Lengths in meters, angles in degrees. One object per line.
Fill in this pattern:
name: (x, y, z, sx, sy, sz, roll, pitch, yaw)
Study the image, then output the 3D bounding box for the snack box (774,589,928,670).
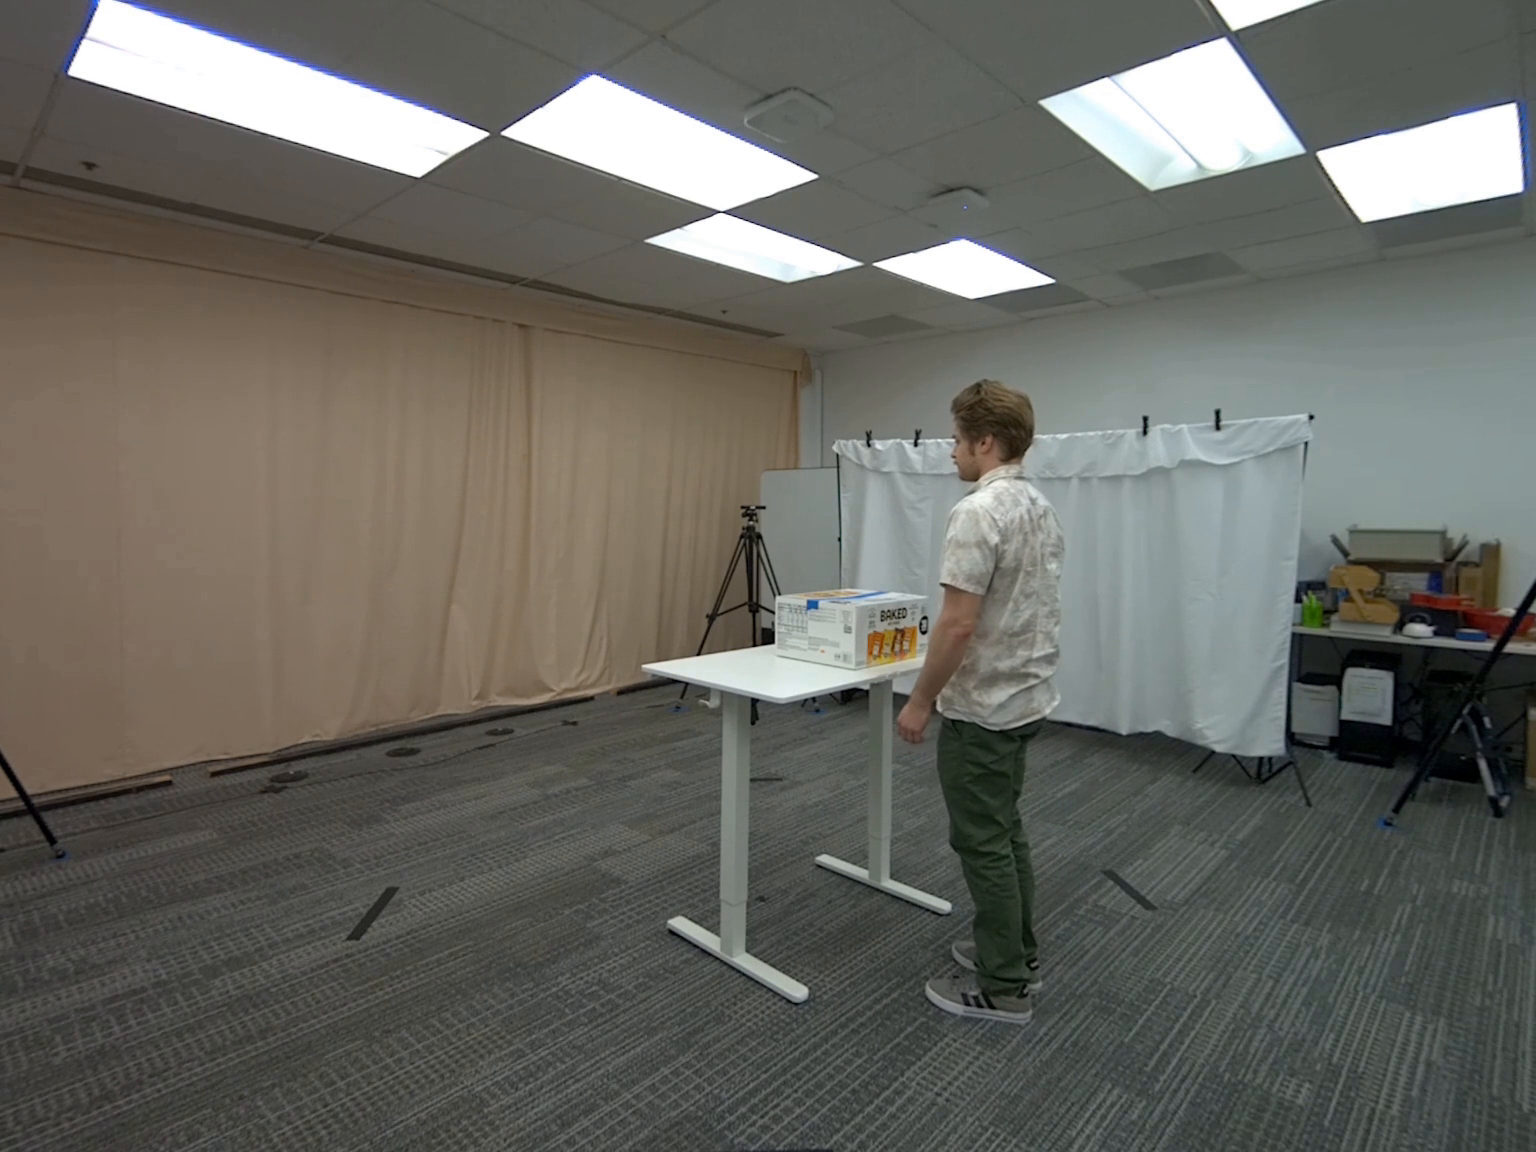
snack box: (0.289, 0.170, 2.846, 0.352, 0.205, 0.393, 4, 6, 45)
